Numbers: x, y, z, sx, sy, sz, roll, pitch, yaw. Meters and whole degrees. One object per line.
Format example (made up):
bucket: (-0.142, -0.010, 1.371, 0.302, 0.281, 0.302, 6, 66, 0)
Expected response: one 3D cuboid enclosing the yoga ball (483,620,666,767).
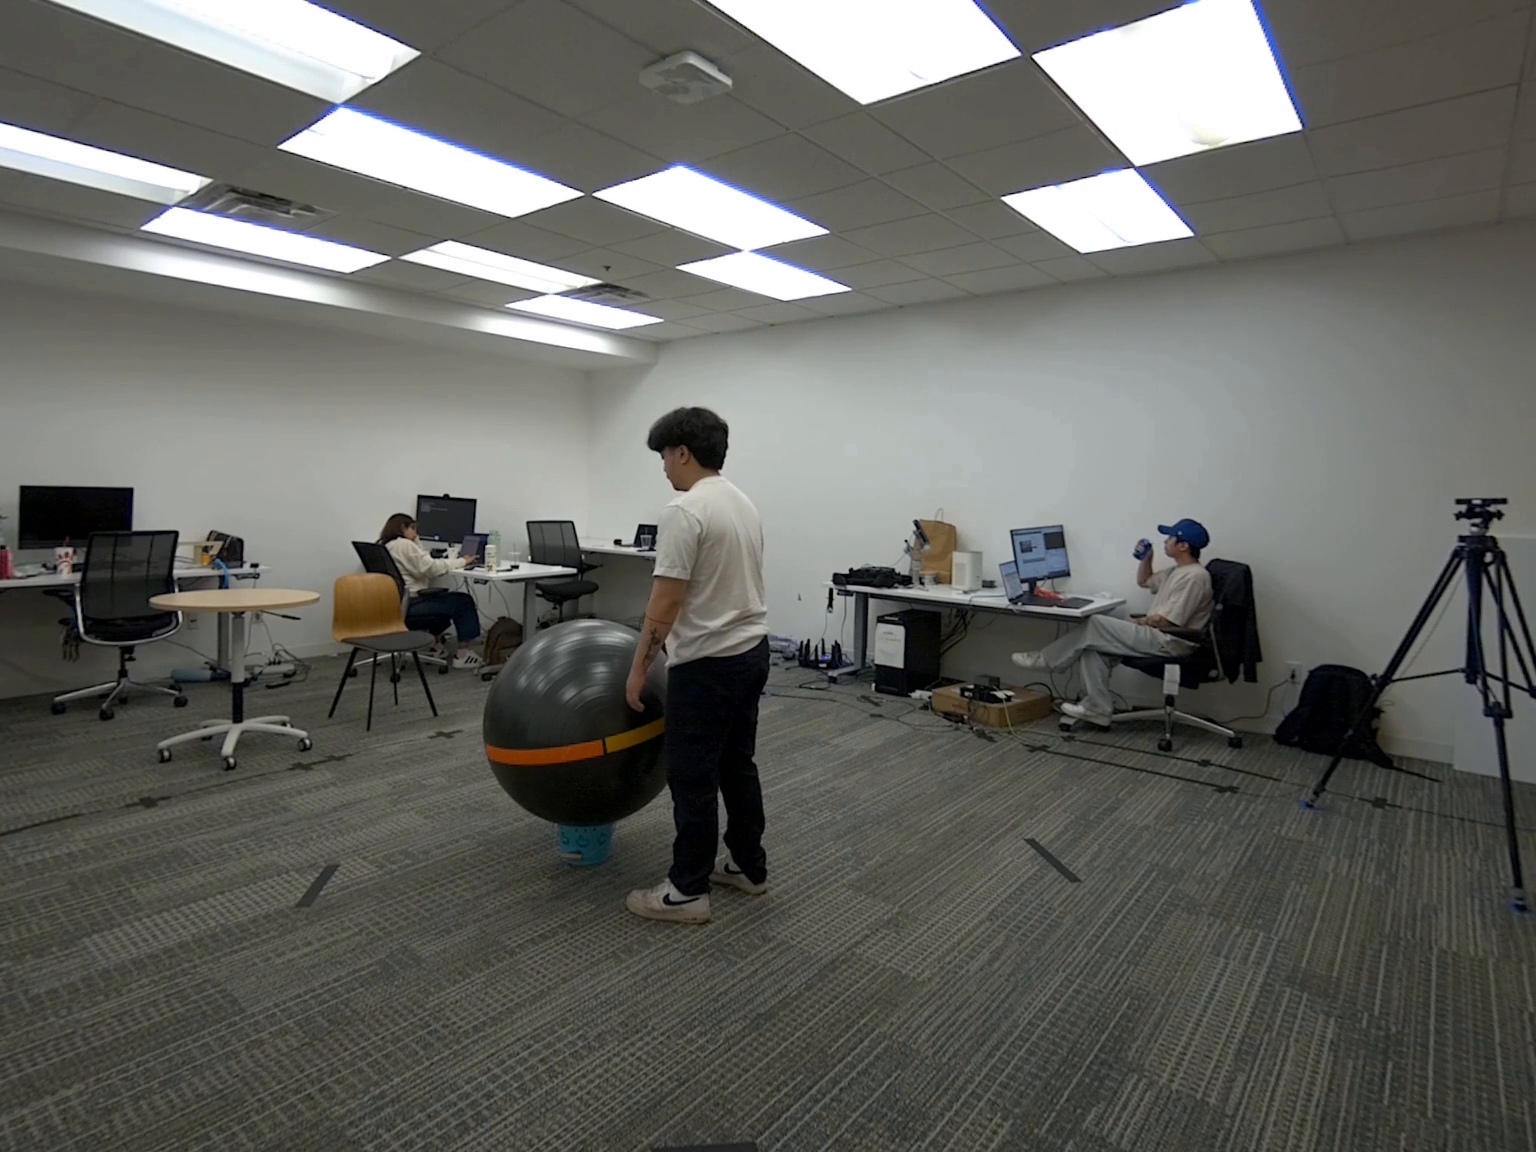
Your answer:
yoga ball: (-0.690, 0.544, 3.191, 0.757, 0.755, 0.762, 1, 4, -2)
